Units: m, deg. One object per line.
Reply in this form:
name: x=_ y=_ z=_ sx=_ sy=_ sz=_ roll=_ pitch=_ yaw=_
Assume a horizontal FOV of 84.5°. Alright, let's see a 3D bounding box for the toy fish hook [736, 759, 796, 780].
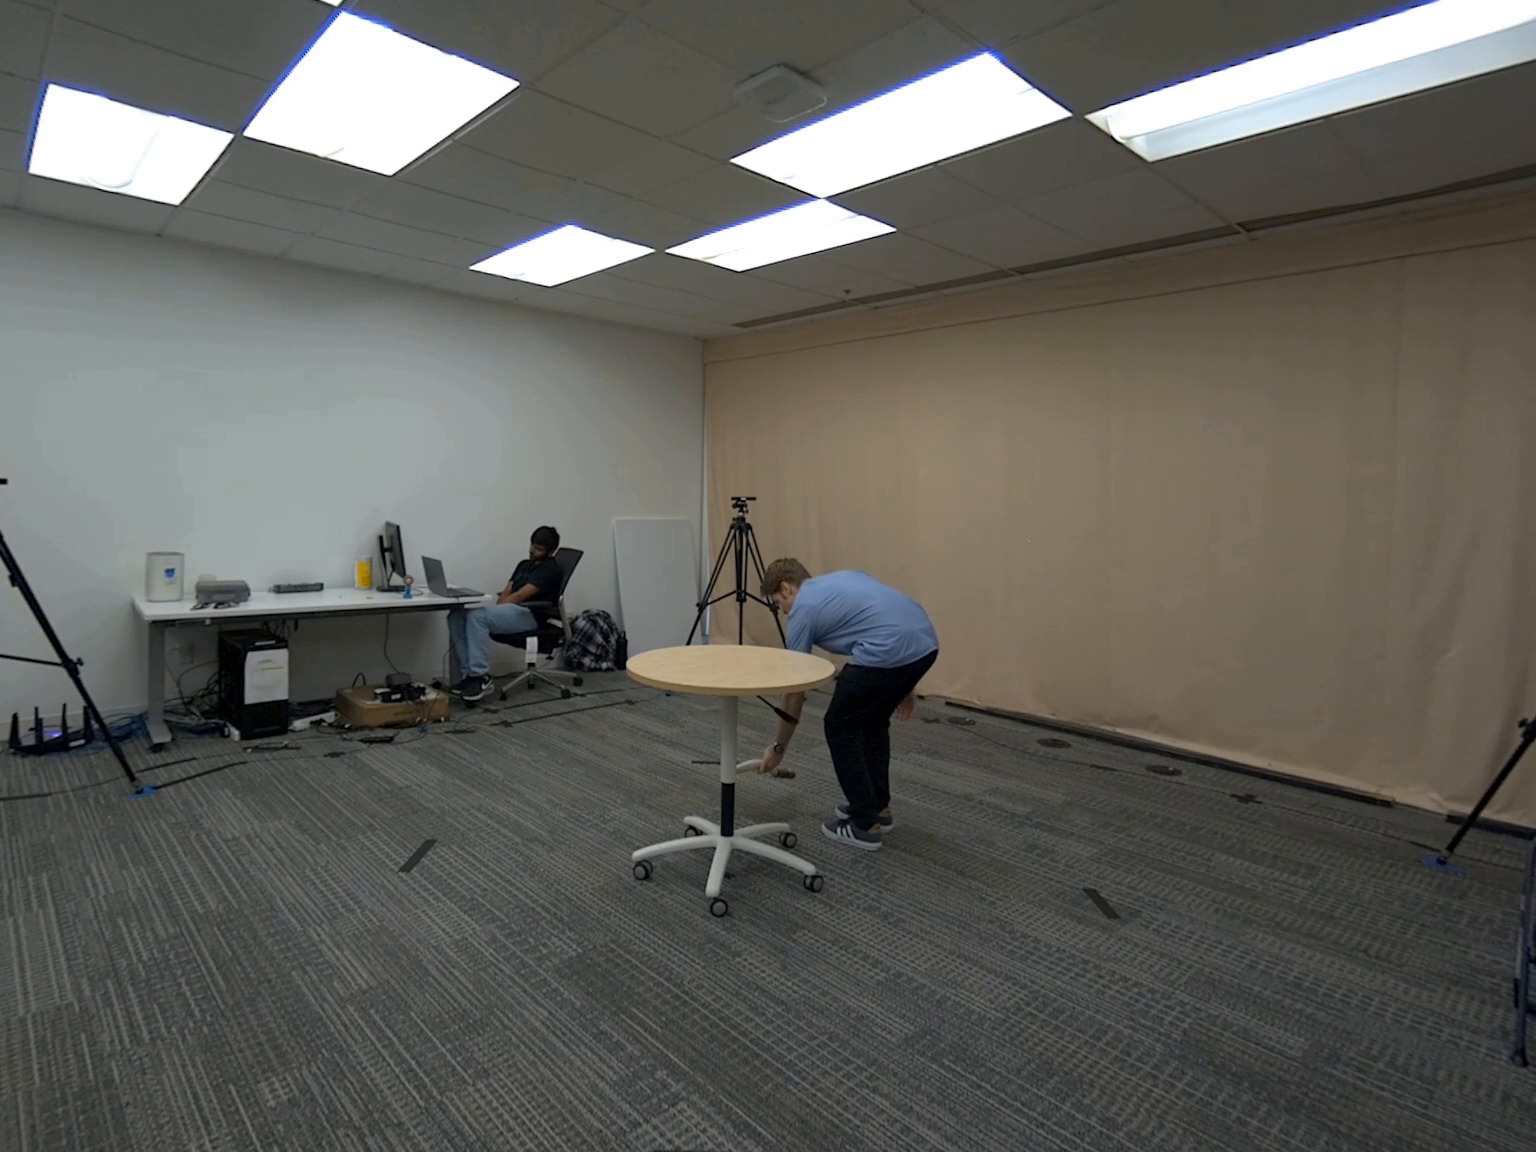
toy fish hook: x=-0.034 y=0.895 z=3.839 sx=0.227 sy=0.049 sz=0.492 roll=-17 pitch=-25 yaw=21
